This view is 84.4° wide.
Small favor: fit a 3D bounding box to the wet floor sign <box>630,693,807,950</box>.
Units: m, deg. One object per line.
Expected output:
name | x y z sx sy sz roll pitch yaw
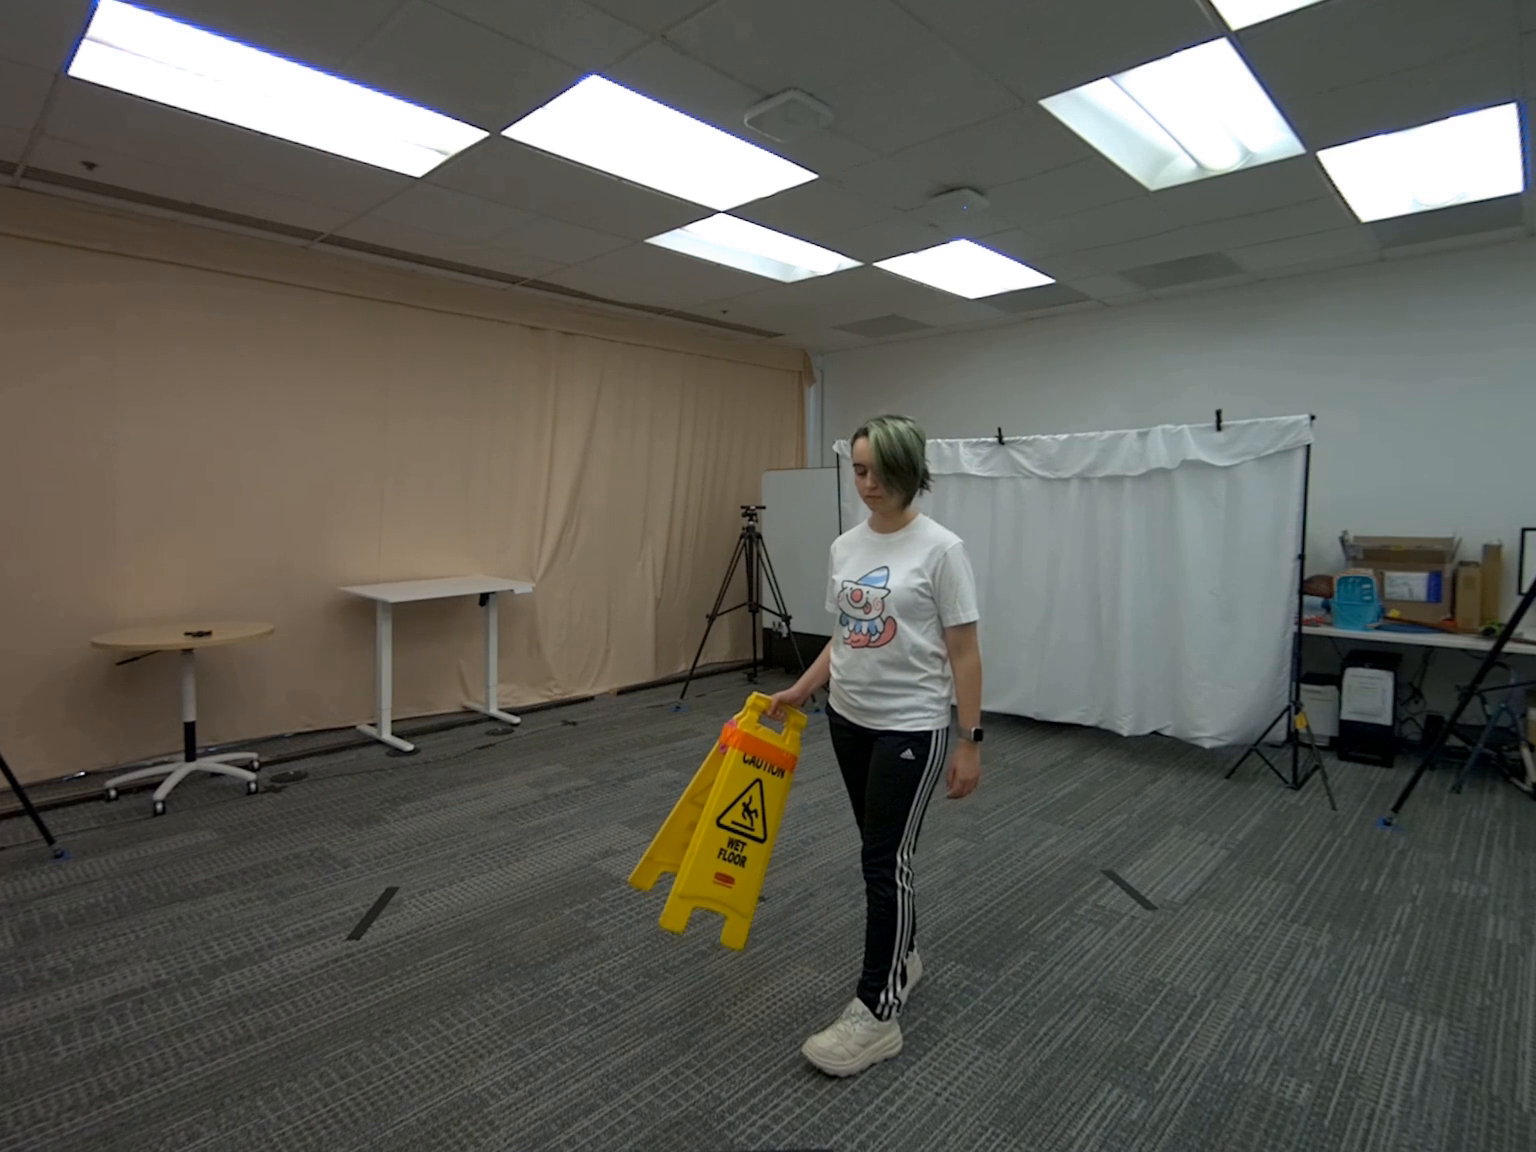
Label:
wet floor sign | -0.098 0.665 2.369 0.274 0.646 0.298 28 -7 -26
